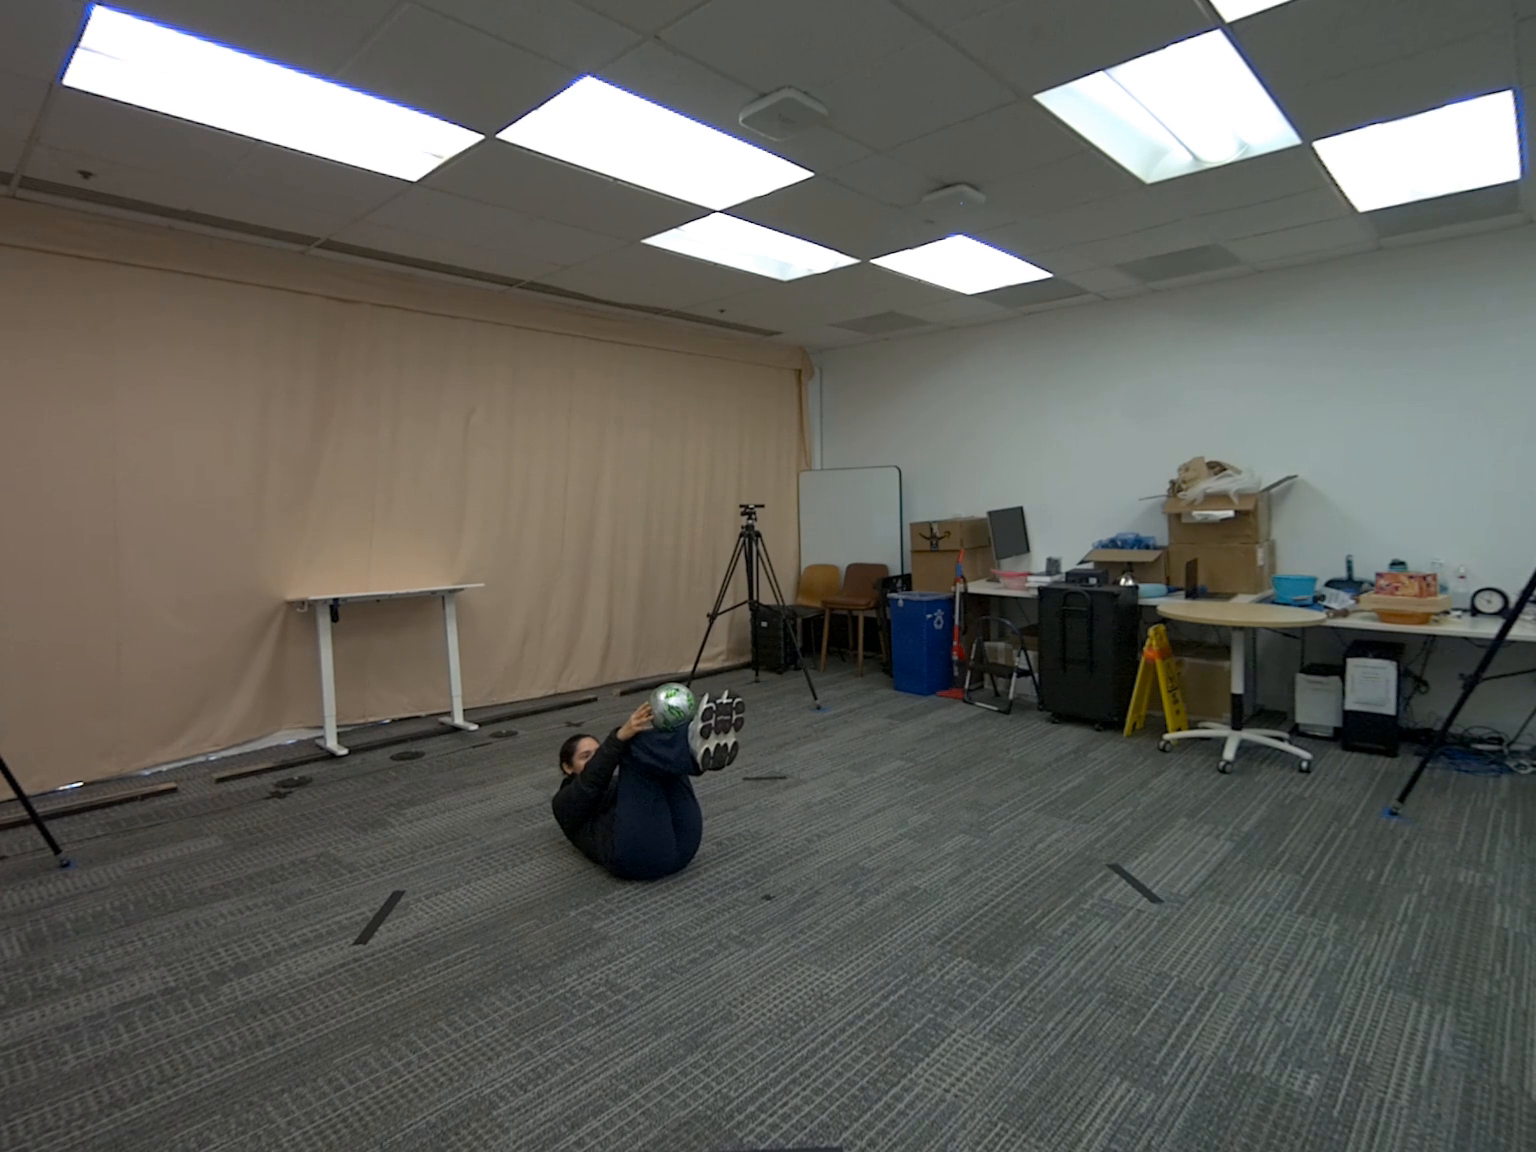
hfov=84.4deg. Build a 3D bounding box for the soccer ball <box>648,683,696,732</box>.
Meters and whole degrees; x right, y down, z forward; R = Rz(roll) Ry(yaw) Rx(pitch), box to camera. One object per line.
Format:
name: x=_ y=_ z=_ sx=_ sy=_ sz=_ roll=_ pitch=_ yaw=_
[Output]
soccer ball: x=-0.348 y=0.494 z=3.118 sx=0.187 sy=0.187 sz=0.188 roll=2 pitch=5 yaw=-2
